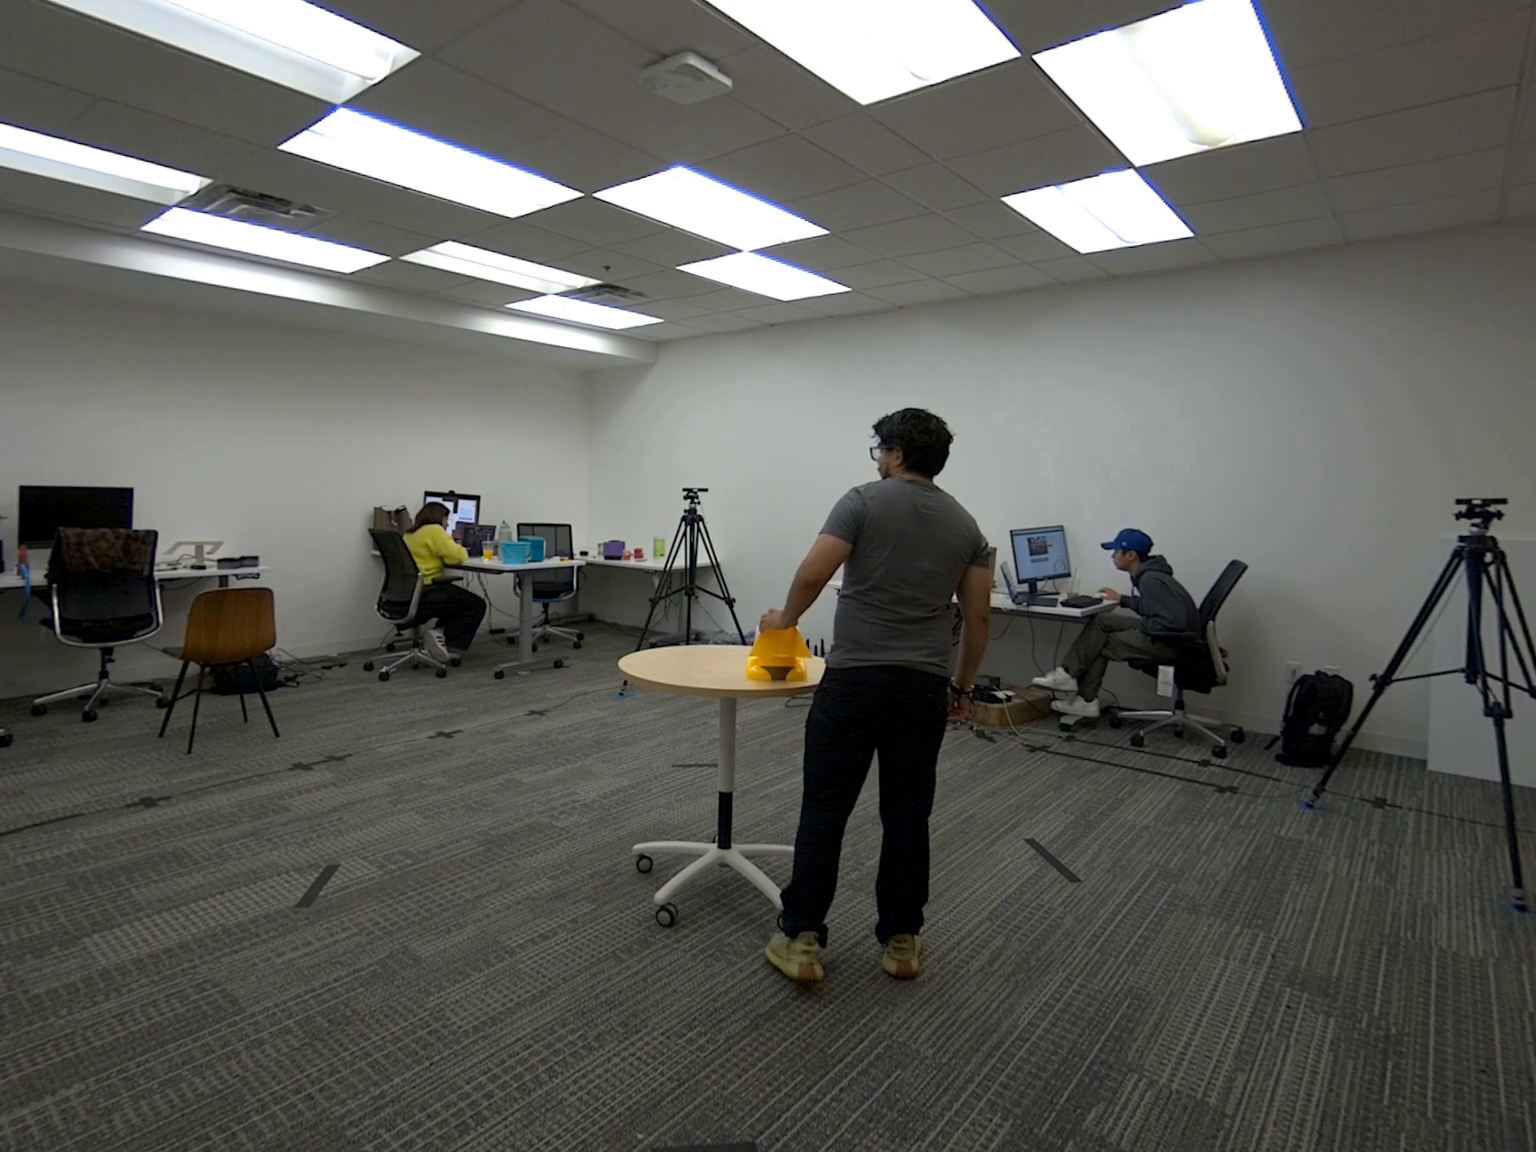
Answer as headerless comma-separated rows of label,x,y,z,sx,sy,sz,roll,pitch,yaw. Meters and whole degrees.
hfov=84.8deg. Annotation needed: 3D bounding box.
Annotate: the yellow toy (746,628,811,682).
yellow toy,0.019,0.207,2.772,0.204,0.229,0.195,1,6,-6
